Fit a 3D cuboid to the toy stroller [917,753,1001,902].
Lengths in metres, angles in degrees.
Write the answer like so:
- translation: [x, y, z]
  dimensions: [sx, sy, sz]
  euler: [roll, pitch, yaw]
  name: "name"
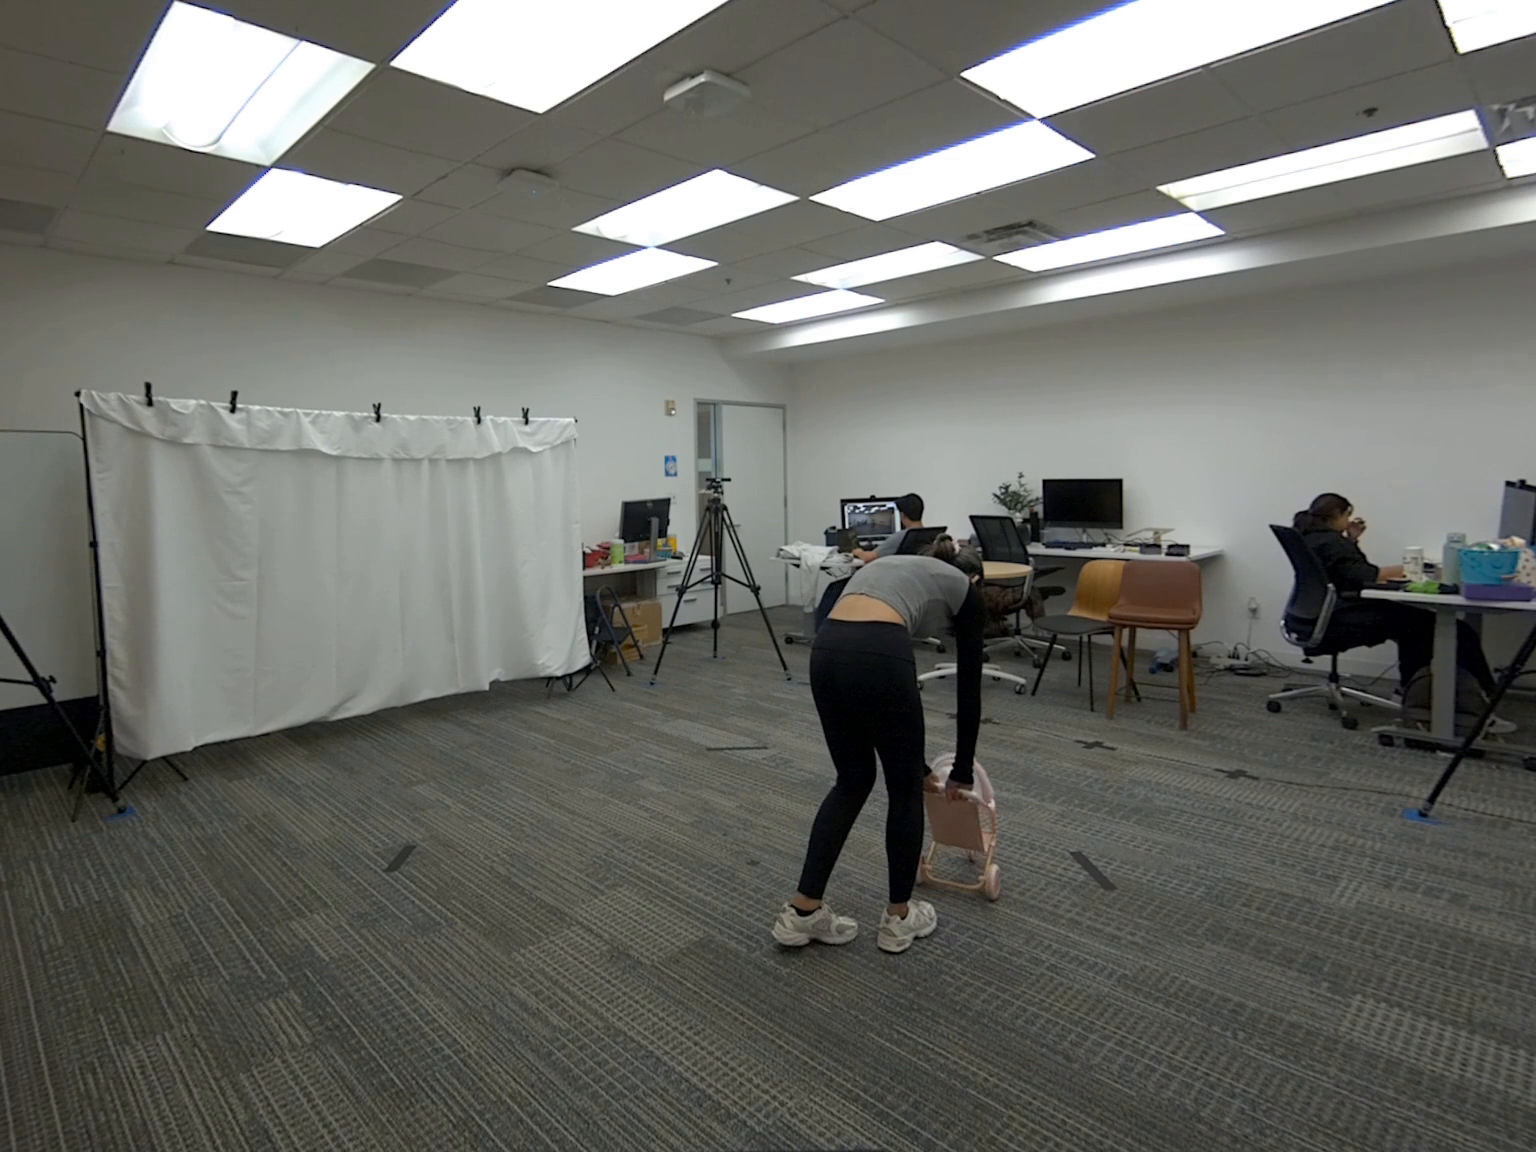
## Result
- translation: [0.658, 0.828, 2.912]
  dimensions: [0.289, 0.525, 0.338]
  euler: [3, 22, 31]
  name: "toy stroller"
